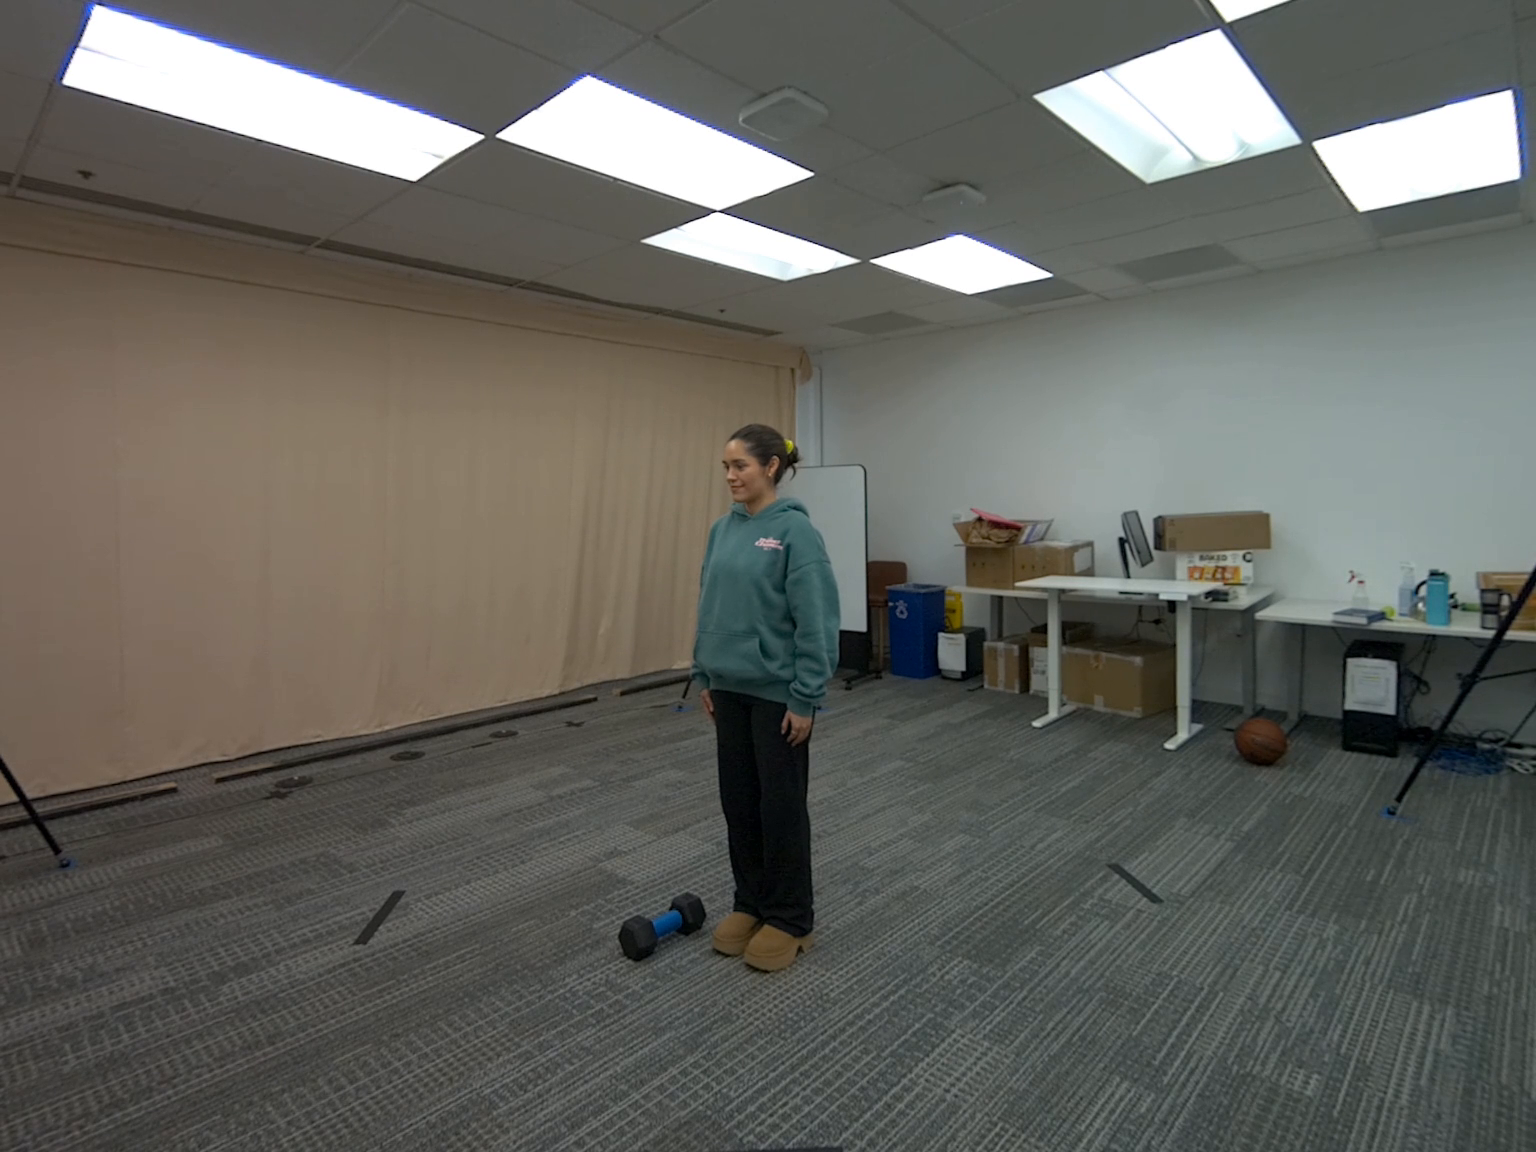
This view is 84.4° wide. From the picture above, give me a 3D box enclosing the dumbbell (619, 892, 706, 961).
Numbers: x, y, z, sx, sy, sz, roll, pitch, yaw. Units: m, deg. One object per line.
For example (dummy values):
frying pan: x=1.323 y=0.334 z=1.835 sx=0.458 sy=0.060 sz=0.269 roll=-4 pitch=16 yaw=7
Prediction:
dumbbell: x=-0.334 y=1.121 z=2.694 sx=0.285 sy=0.125 sz=0.110 roll=-6 pitch=-26 yaw=-46
